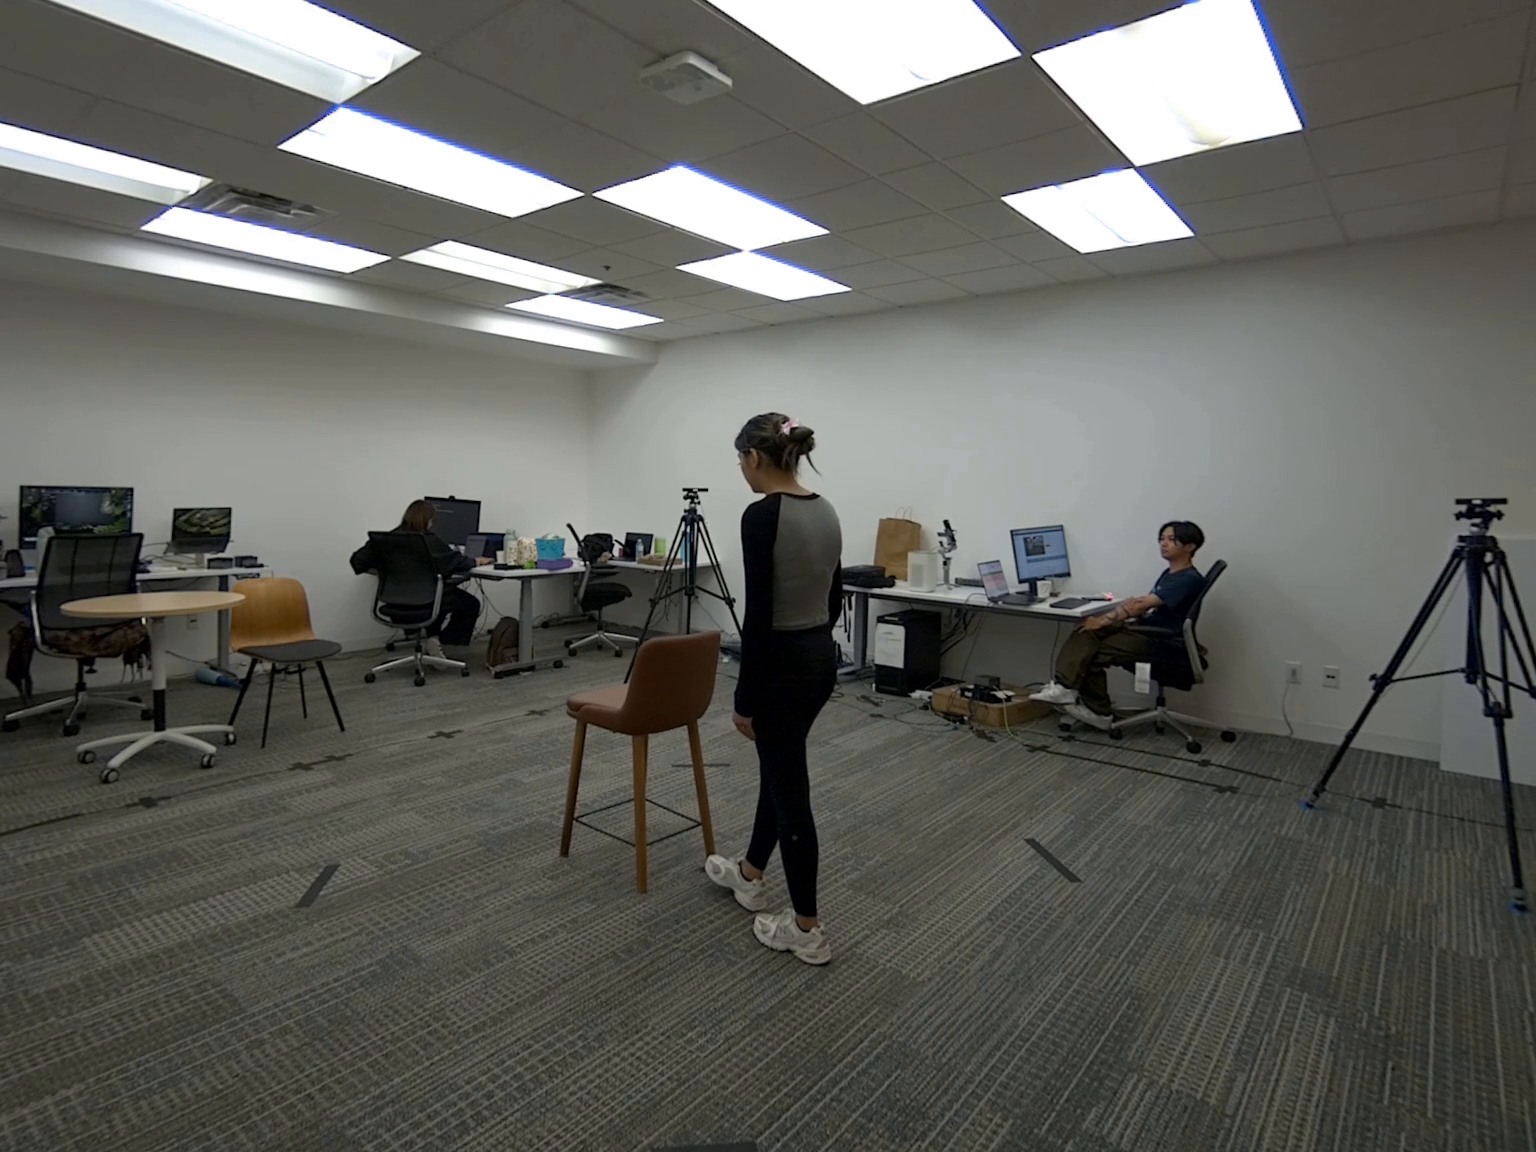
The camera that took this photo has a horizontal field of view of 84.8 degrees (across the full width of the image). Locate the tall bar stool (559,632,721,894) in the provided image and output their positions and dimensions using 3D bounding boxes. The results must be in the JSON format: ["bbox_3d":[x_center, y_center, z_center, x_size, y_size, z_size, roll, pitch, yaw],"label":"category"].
[{"bbox_3d":[-0.482,0.624,3.172,0.484,0.887,0.442,6,5,41],"label":"tall bar stool"}]
